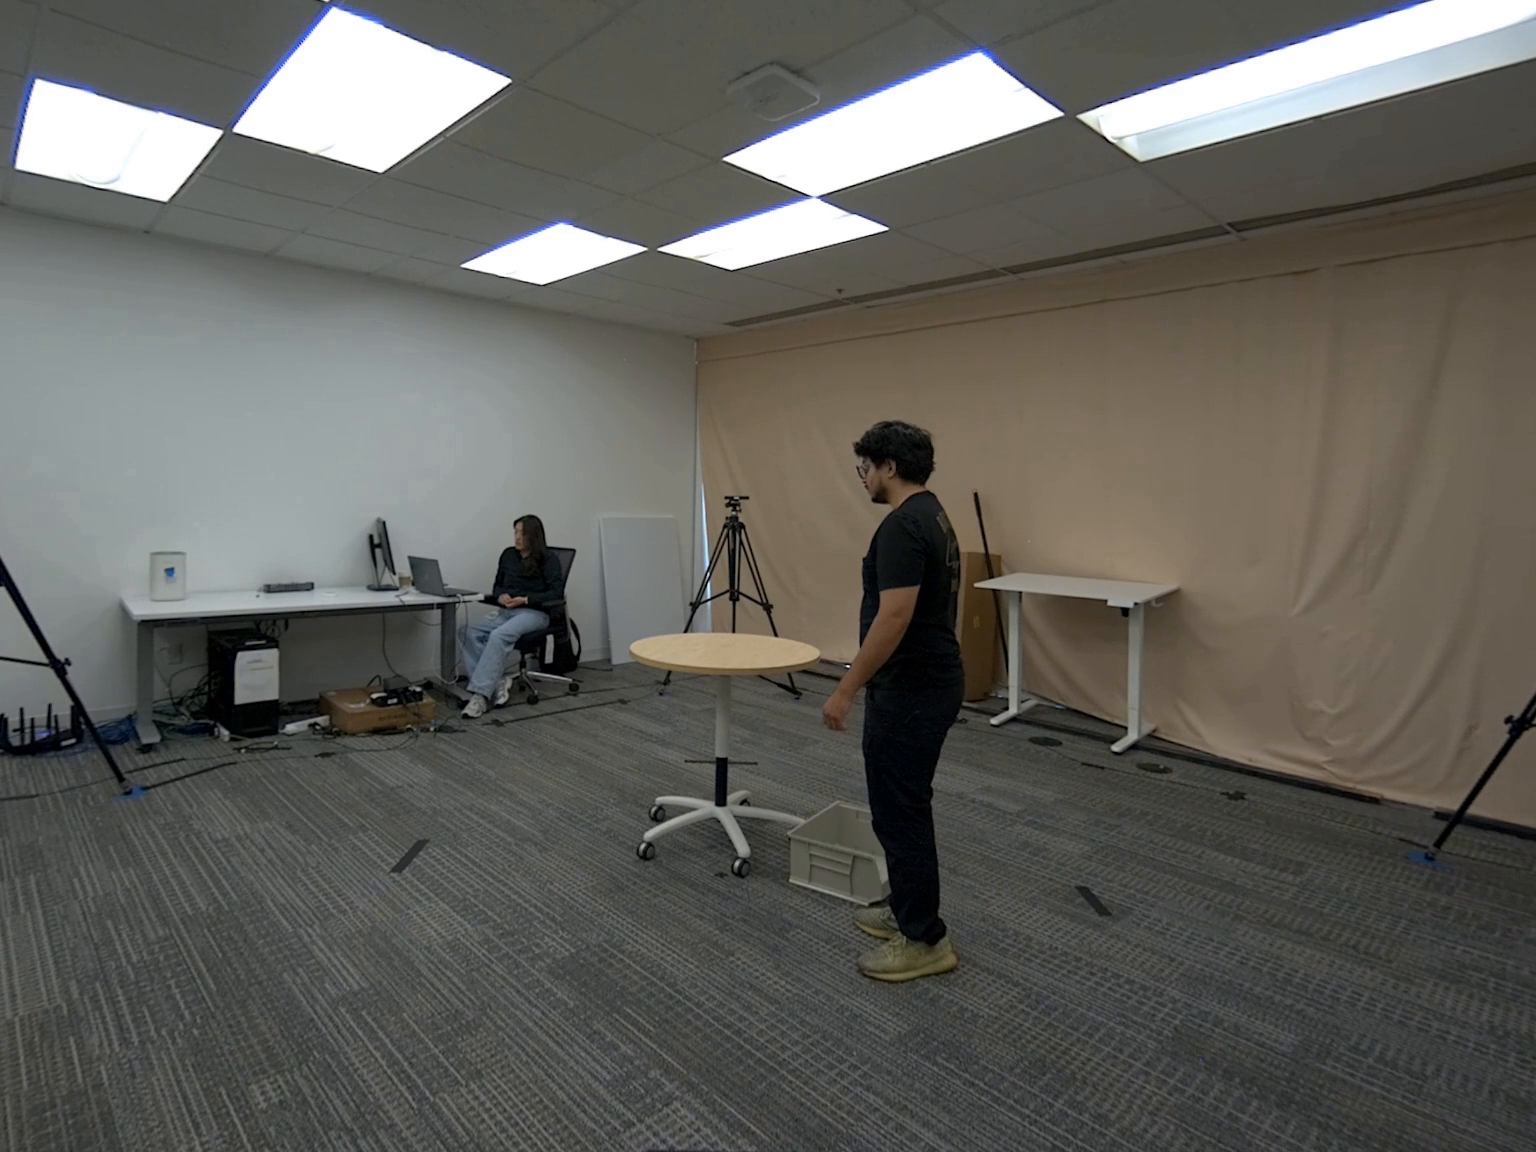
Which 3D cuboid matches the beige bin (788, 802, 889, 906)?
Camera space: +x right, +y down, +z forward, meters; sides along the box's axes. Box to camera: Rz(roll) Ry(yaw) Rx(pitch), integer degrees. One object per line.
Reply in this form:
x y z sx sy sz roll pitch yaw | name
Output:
0.327 1.023 3.126 0.386 0.188 0.414 3 5 32 | beige bin
